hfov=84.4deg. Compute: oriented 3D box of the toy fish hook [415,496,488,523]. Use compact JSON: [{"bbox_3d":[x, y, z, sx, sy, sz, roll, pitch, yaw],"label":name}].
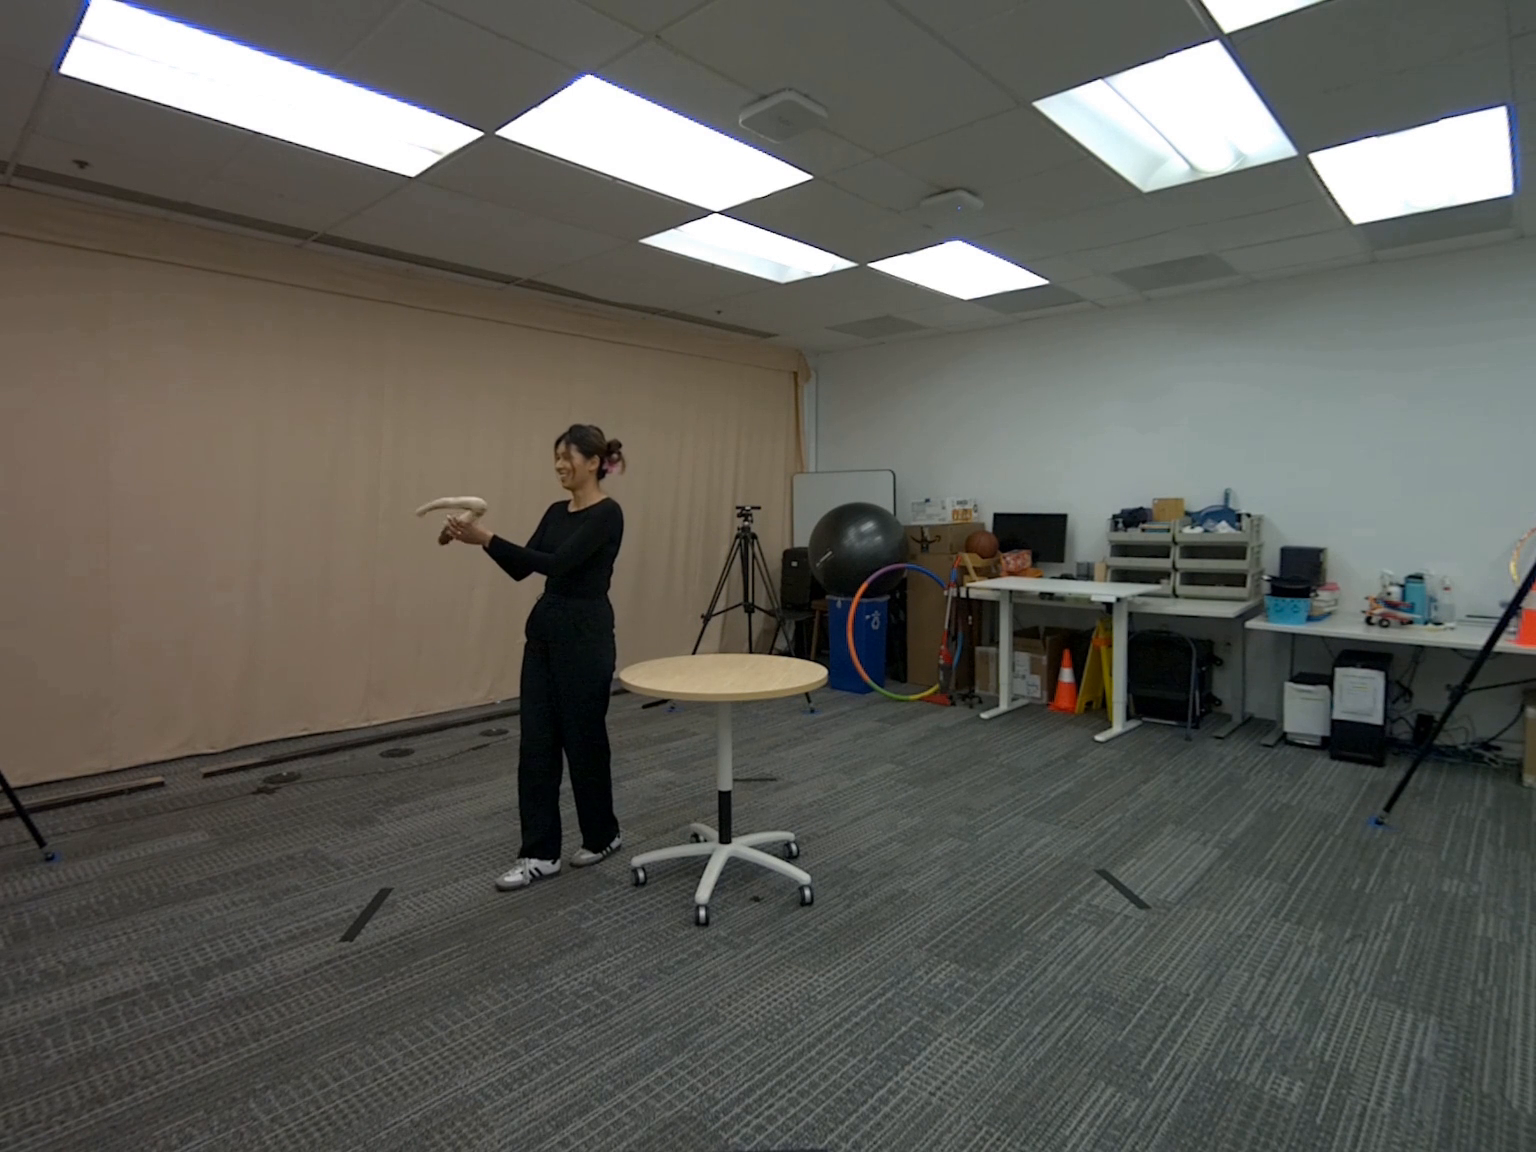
[{"bbox_3d":[-1.122,-0.185,2.908,0.218,0.049,0.515,3,-17,-31],"label":"toy fish hook"}]
